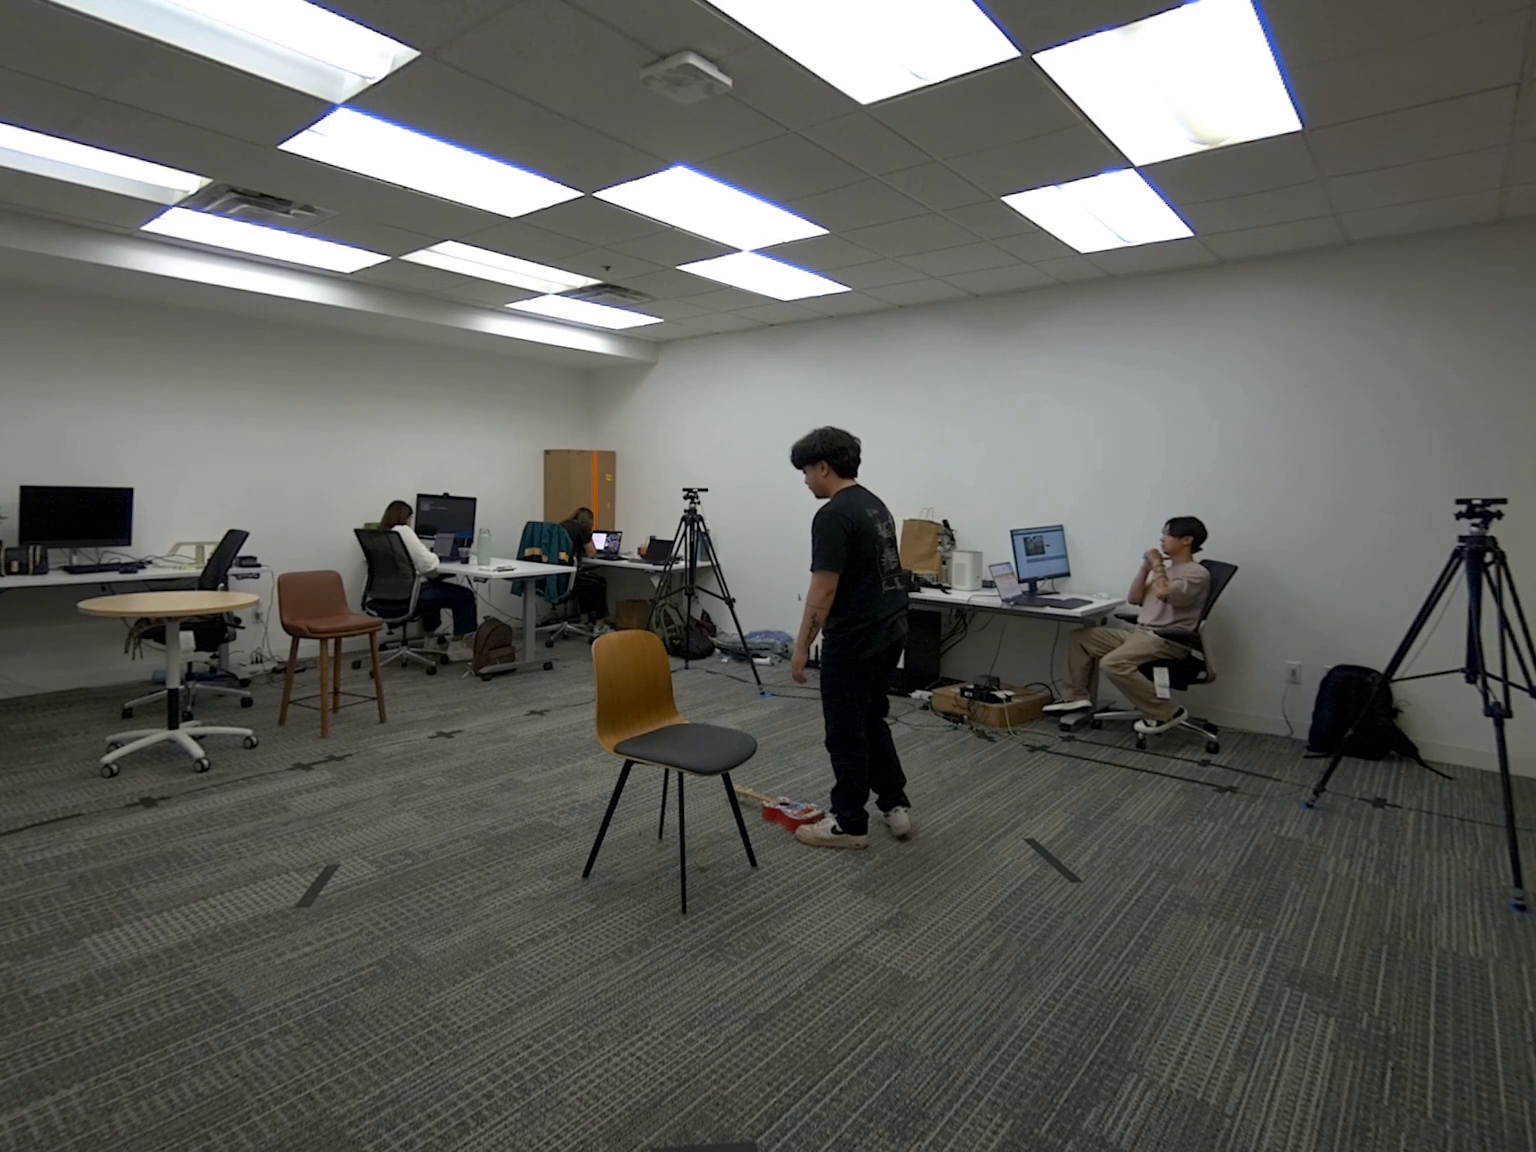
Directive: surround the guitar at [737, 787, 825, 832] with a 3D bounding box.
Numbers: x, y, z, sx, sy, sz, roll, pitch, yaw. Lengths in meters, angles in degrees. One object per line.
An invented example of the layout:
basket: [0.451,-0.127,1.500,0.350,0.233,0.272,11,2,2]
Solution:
guitar: [0.025,0.984,3.686,0.187,0.070,0.515,-4,8,-40]
